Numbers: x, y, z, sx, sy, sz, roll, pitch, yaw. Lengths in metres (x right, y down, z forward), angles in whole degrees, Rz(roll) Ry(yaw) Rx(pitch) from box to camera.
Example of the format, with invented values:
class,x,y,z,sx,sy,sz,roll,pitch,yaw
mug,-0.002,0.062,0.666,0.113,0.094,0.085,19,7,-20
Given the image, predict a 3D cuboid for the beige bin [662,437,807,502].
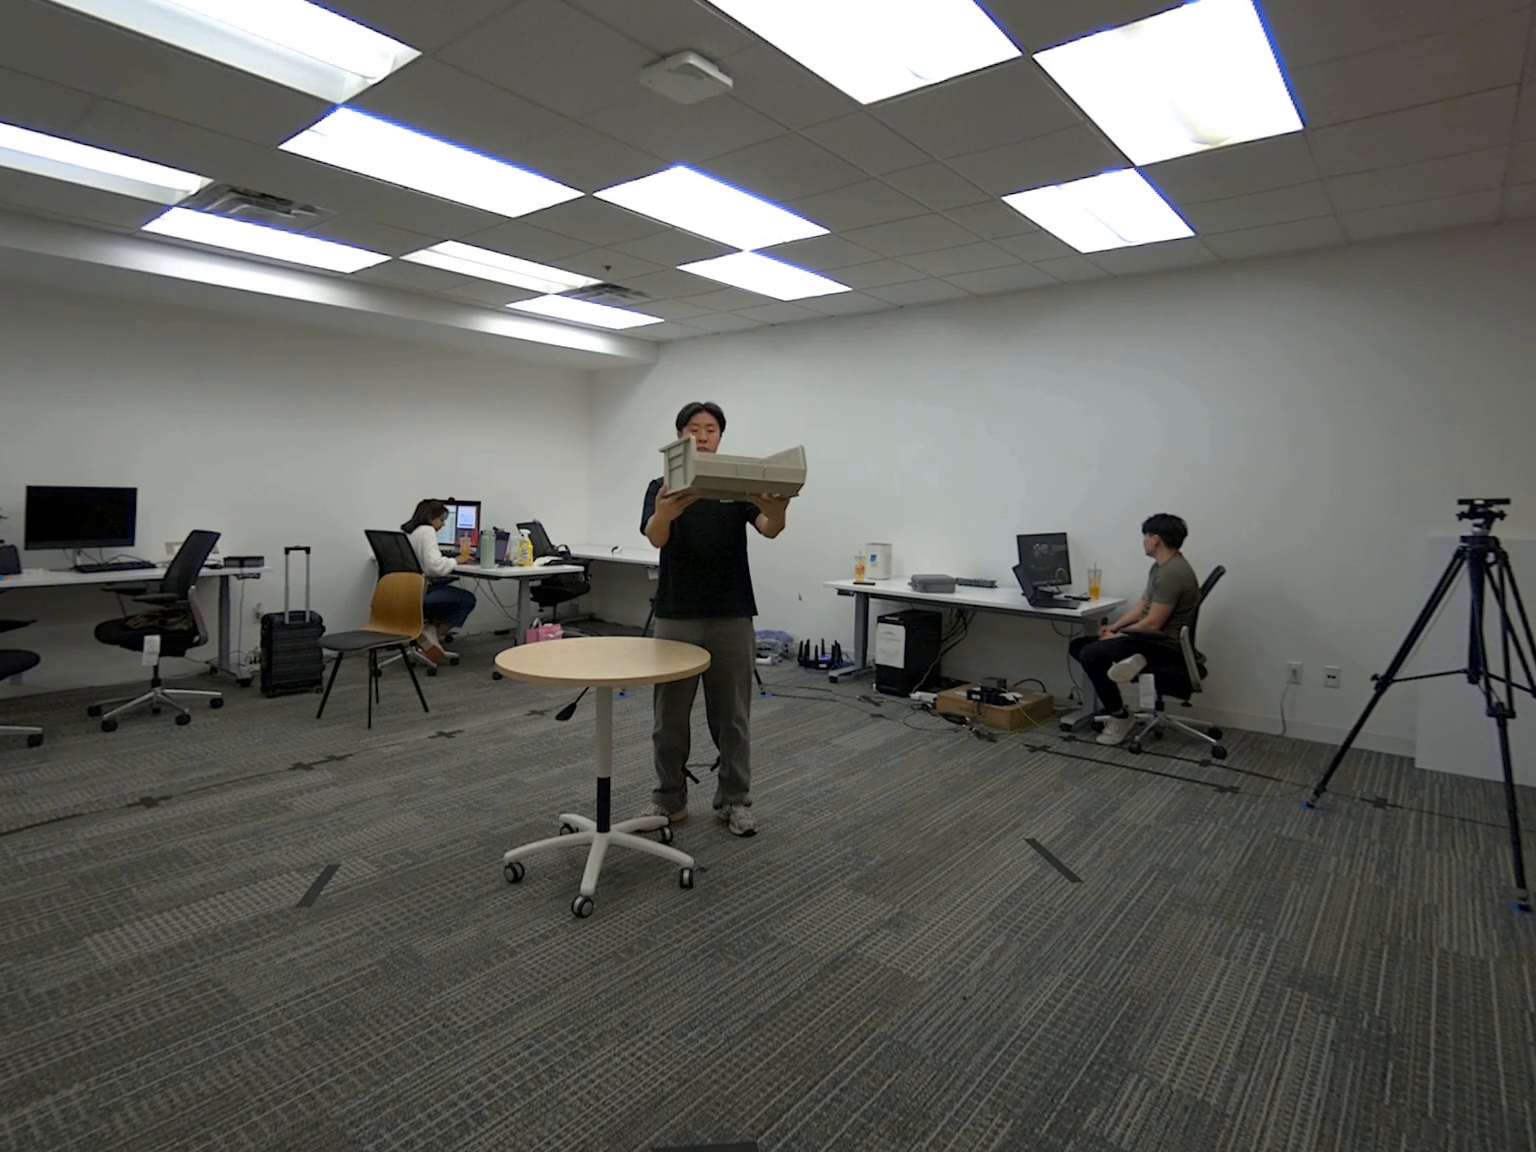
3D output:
class,x,y,z,sx,sy,sz,roll,pitch,yaw
beige bin,-0.141,-0.375,3.020,0.412,0.189,0.385,2,-2,-23
